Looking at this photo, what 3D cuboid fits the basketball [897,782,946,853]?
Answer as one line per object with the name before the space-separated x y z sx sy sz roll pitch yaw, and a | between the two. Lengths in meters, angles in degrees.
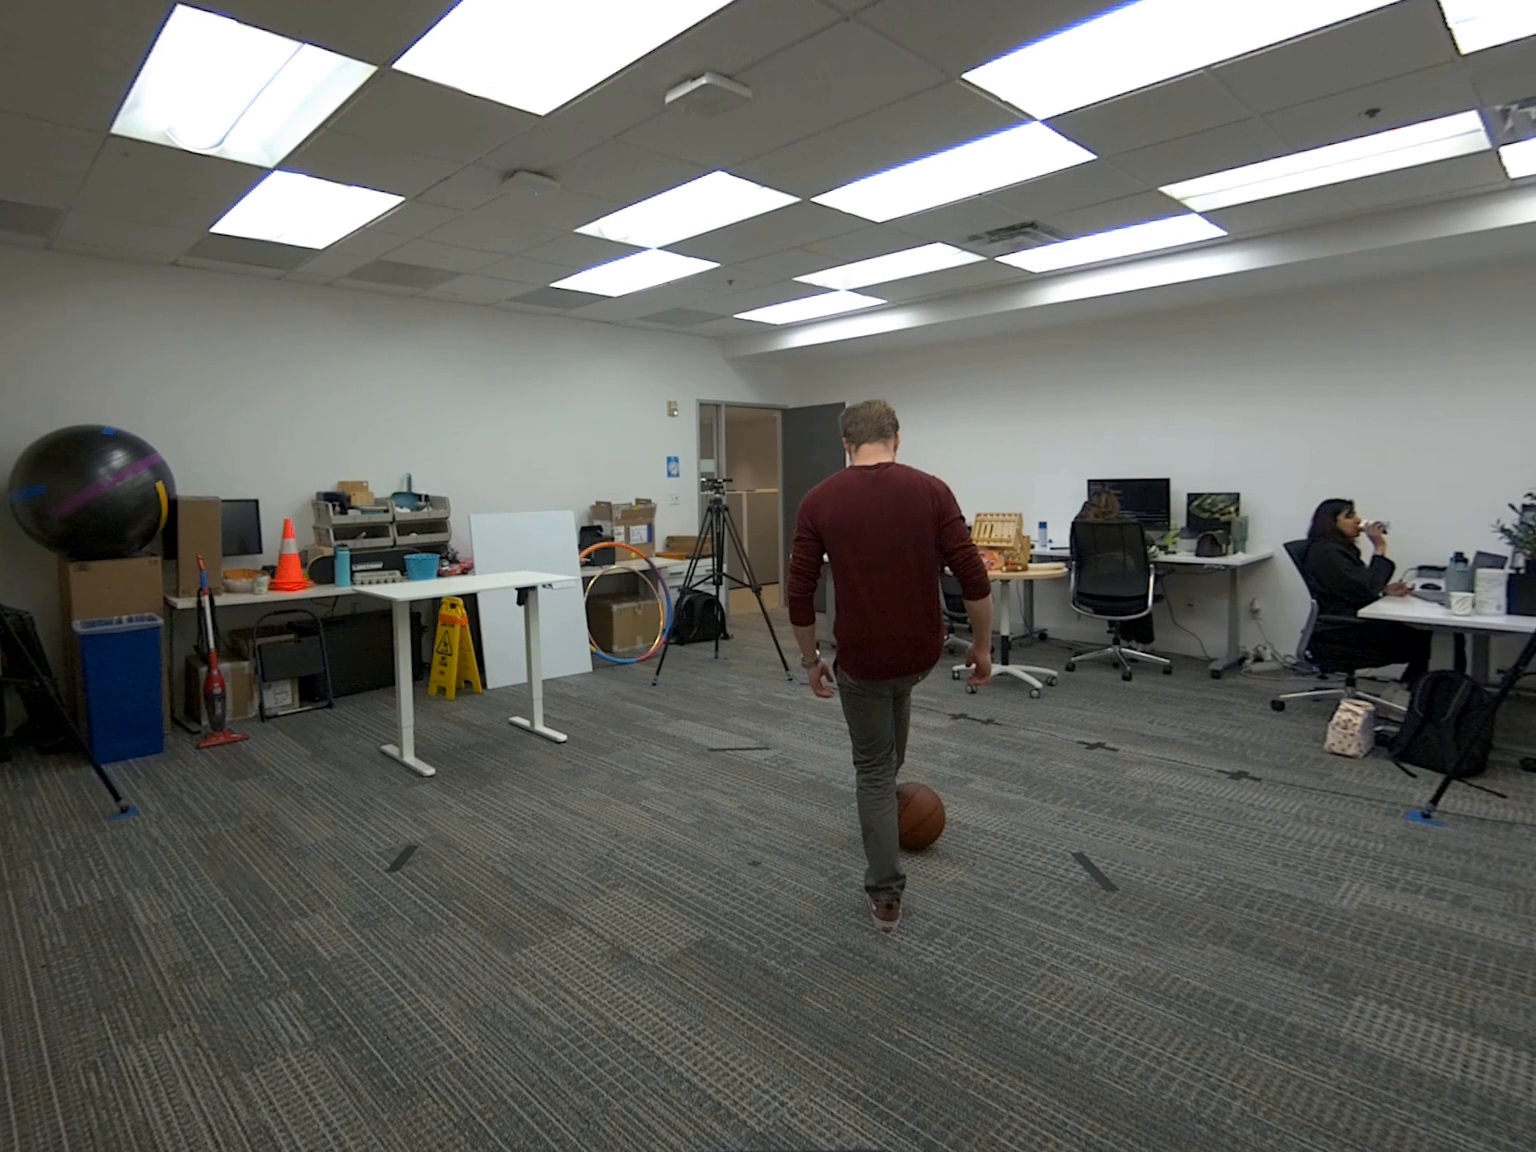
basketball | 0.558 0.901 3.226 0.236 0.235 0.237 -1 5 -2
